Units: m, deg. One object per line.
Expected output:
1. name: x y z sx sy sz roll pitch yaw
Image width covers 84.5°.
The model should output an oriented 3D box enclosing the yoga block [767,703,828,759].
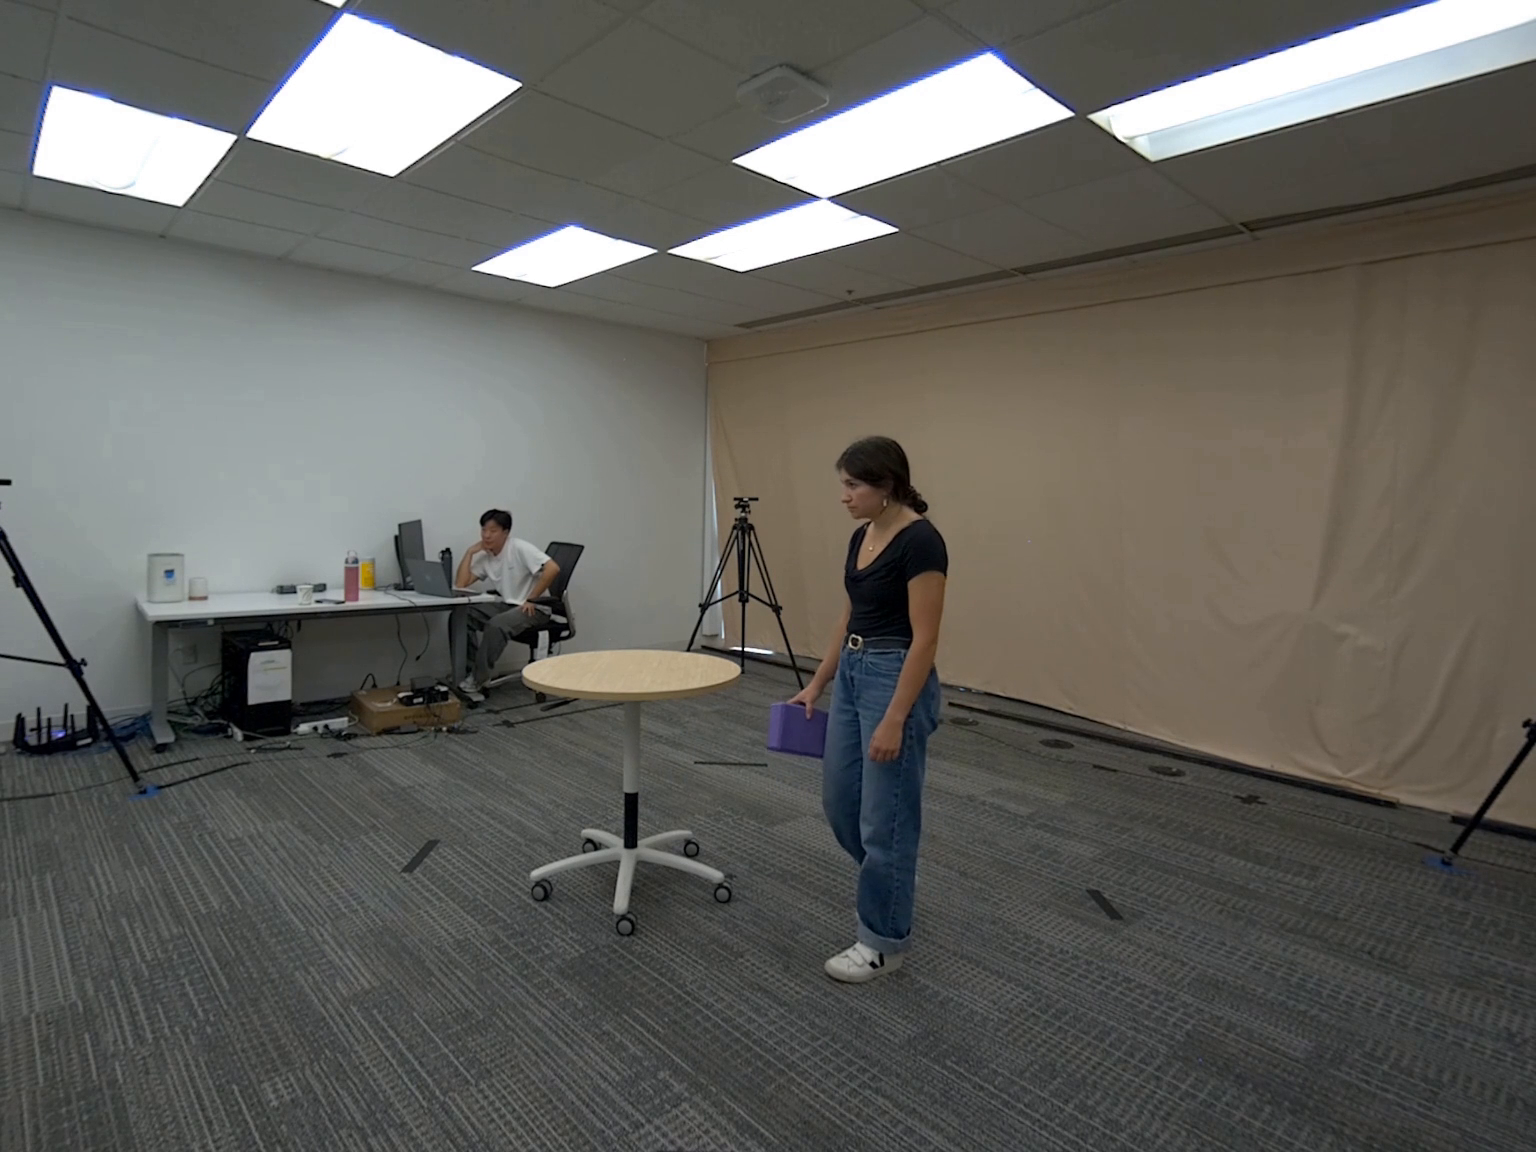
1. yoga block: 0.114 0.495 2.697 0.224 0.150 0.077 14 -14 -27
